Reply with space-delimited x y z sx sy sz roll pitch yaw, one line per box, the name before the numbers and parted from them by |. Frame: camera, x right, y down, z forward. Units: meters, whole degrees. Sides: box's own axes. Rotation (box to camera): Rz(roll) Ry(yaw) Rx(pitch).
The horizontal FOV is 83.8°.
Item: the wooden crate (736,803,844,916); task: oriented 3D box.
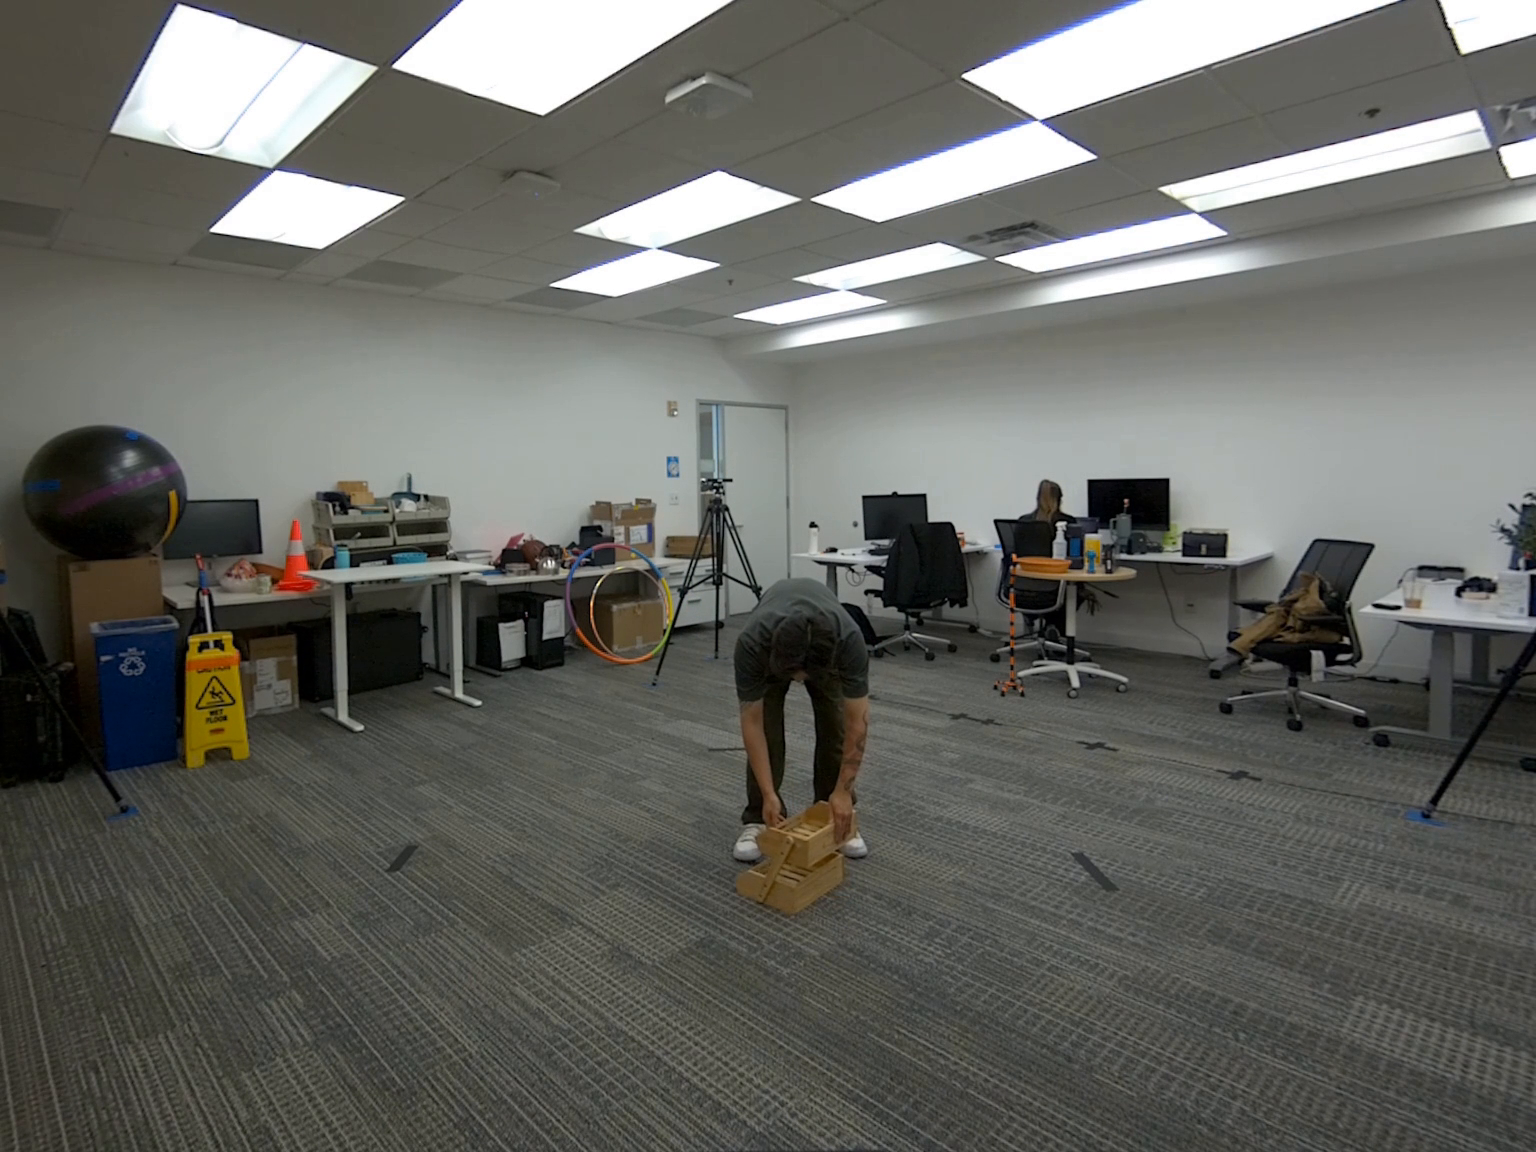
wooden crate | 0.092 0.932 2.902 0.311 0.272 0.316 2 6 38
